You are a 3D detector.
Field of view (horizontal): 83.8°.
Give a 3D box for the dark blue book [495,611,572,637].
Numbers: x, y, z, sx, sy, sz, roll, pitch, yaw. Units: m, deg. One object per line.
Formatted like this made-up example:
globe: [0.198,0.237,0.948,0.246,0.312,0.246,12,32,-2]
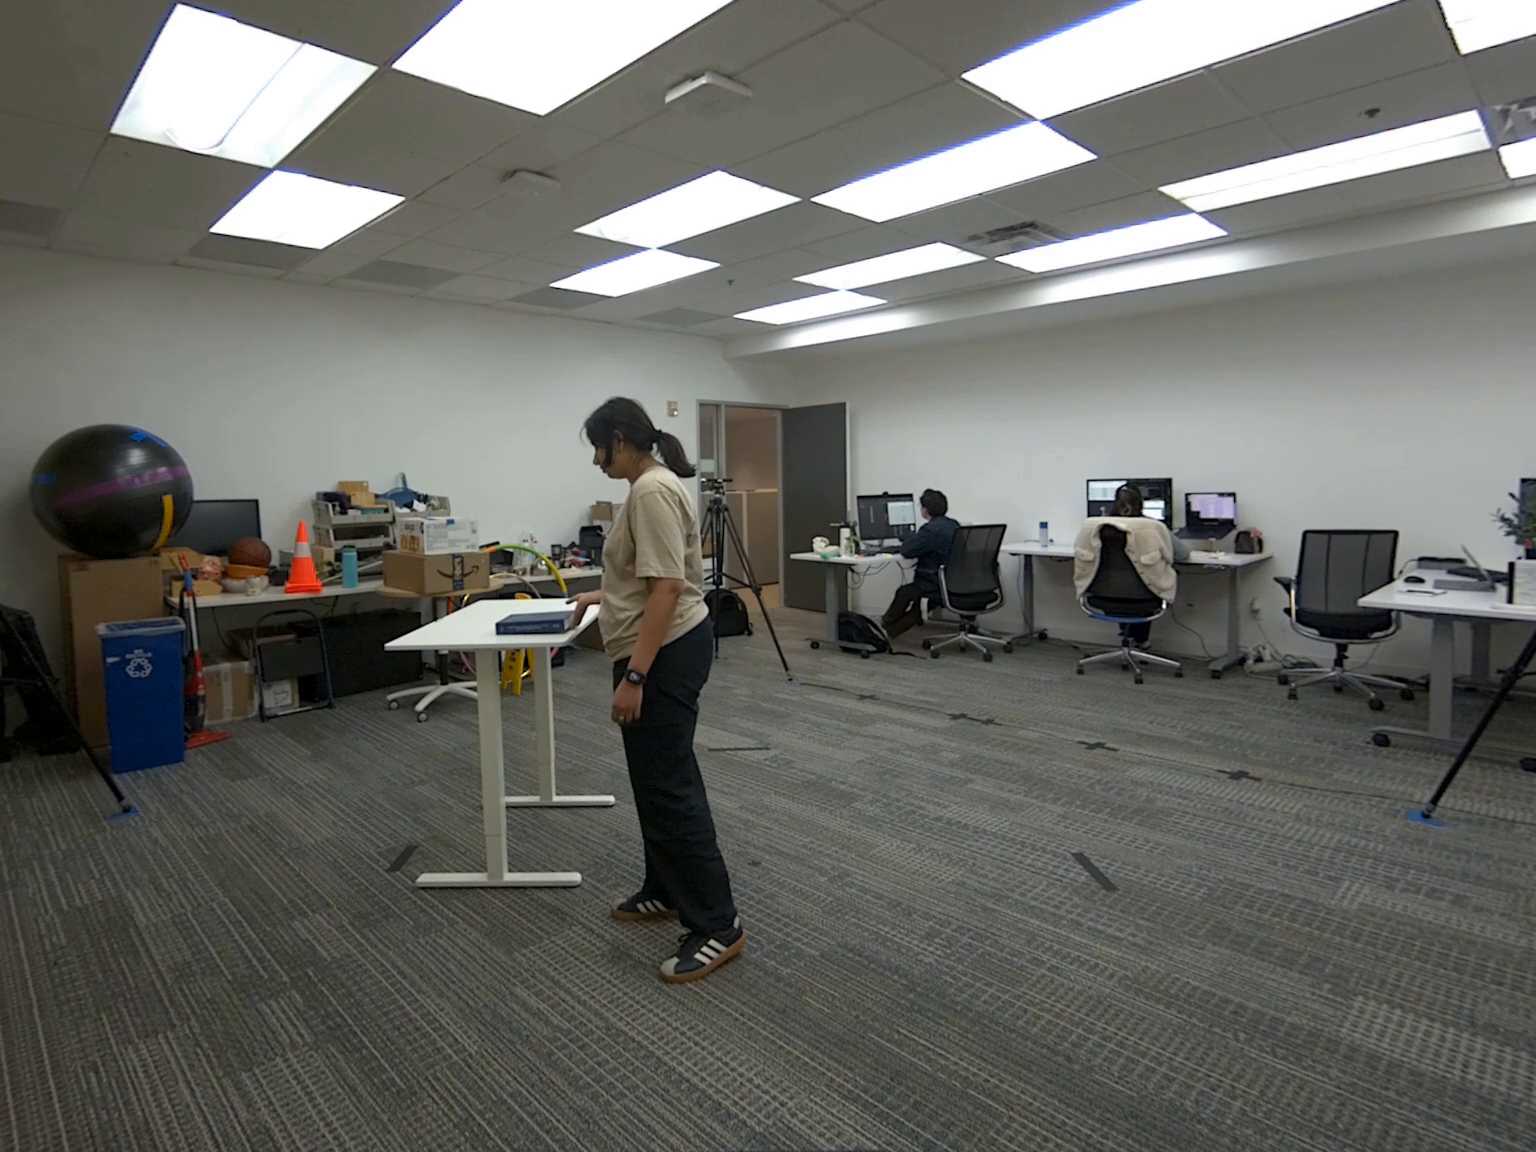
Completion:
dark blue book: [-0.823,0.170,3.005,0.246,0.045,0.163,-3,7,4]
